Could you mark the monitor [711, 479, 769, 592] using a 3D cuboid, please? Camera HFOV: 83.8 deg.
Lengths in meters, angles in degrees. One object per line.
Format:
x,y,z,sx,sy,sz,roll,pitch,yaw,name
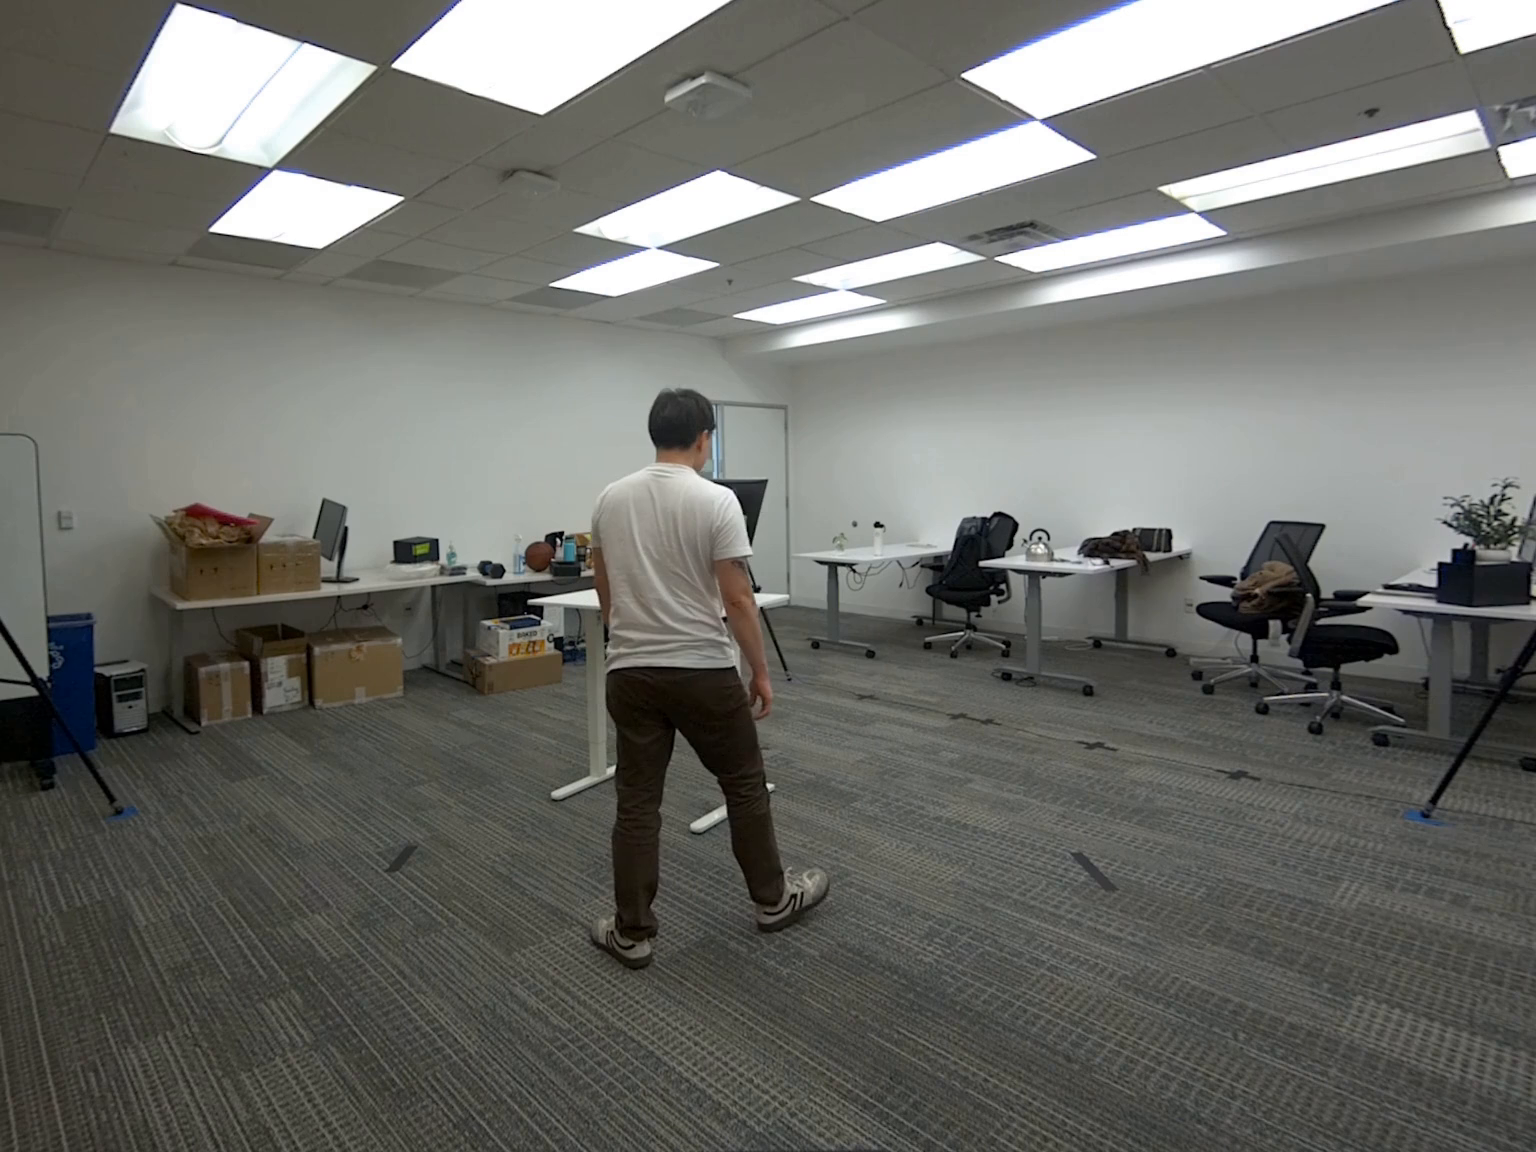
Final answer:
-0.175,-0.144,3.554,0.192,0.520,0.527,4,7,31,monitor
